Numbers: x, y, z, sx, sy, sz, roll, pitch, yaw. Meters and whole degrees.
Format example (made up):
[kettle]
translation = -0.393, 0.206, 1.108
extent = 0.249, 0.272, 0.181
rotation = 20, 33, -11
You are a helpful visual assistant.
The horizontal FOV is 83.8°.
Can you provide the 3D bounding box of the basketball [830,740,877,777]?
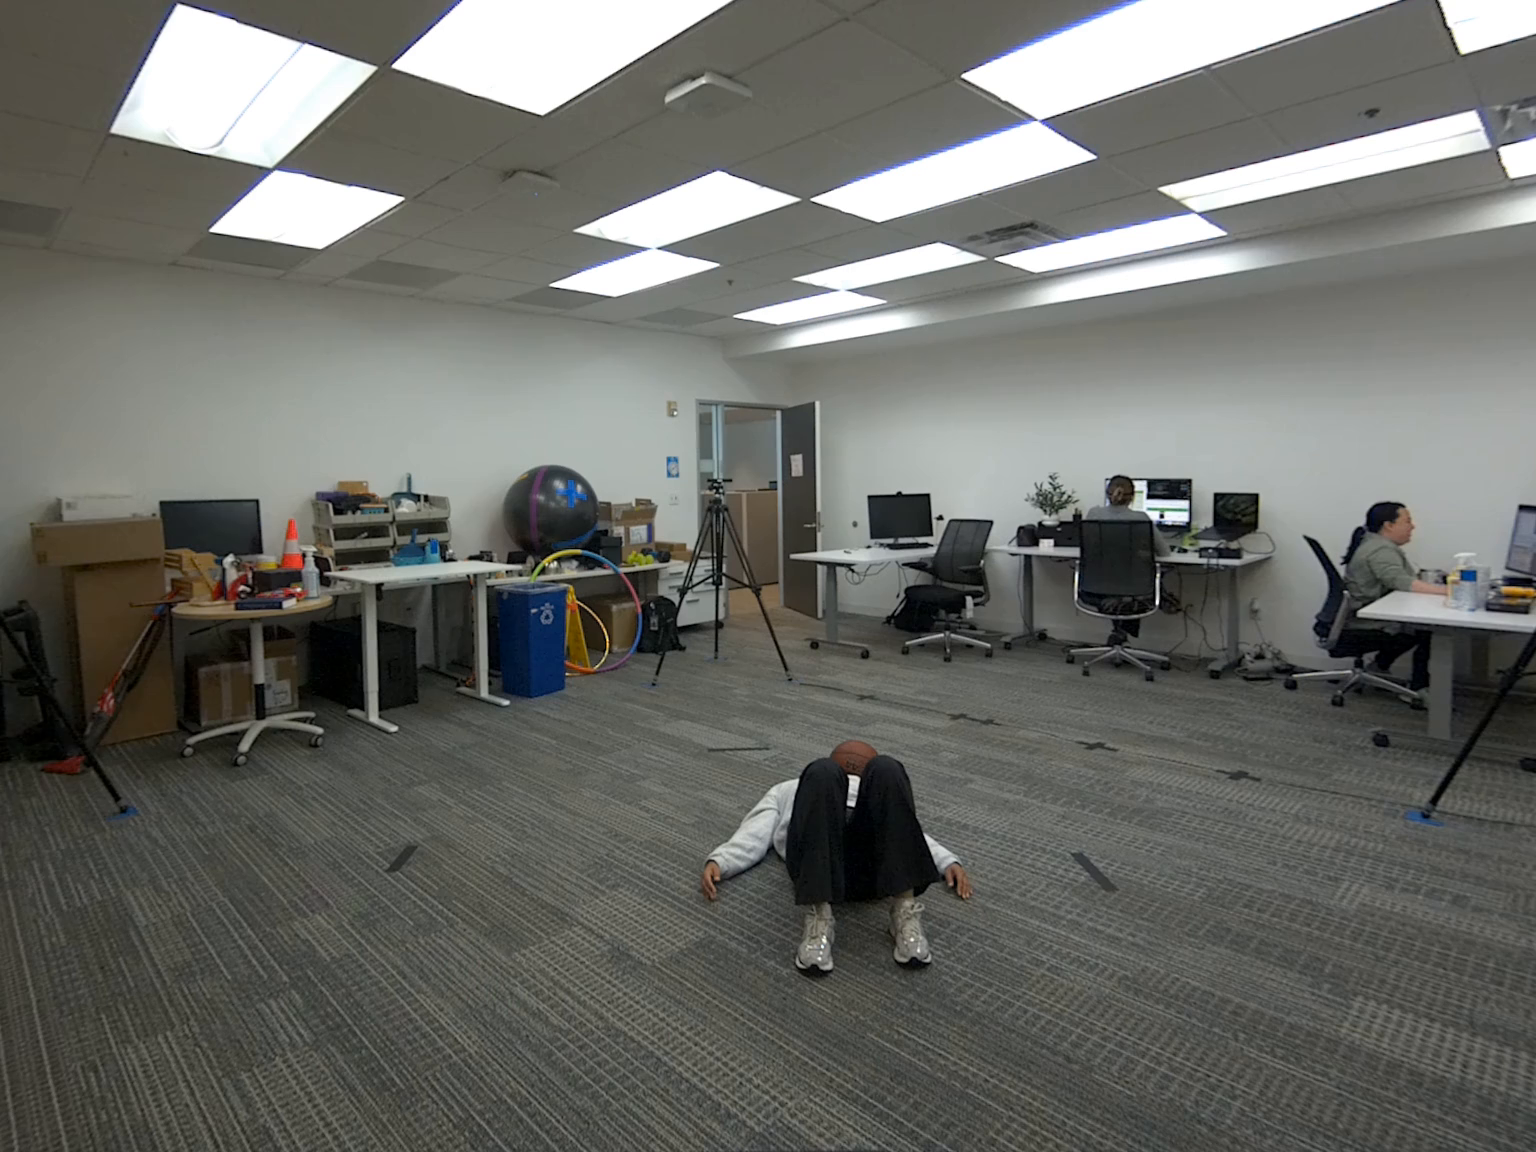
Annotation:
[basketball]
translation = 0.386, 0.842, 3.770
extent = 0.236, 0.235, 0.237
rotation = -1, 5, -2
